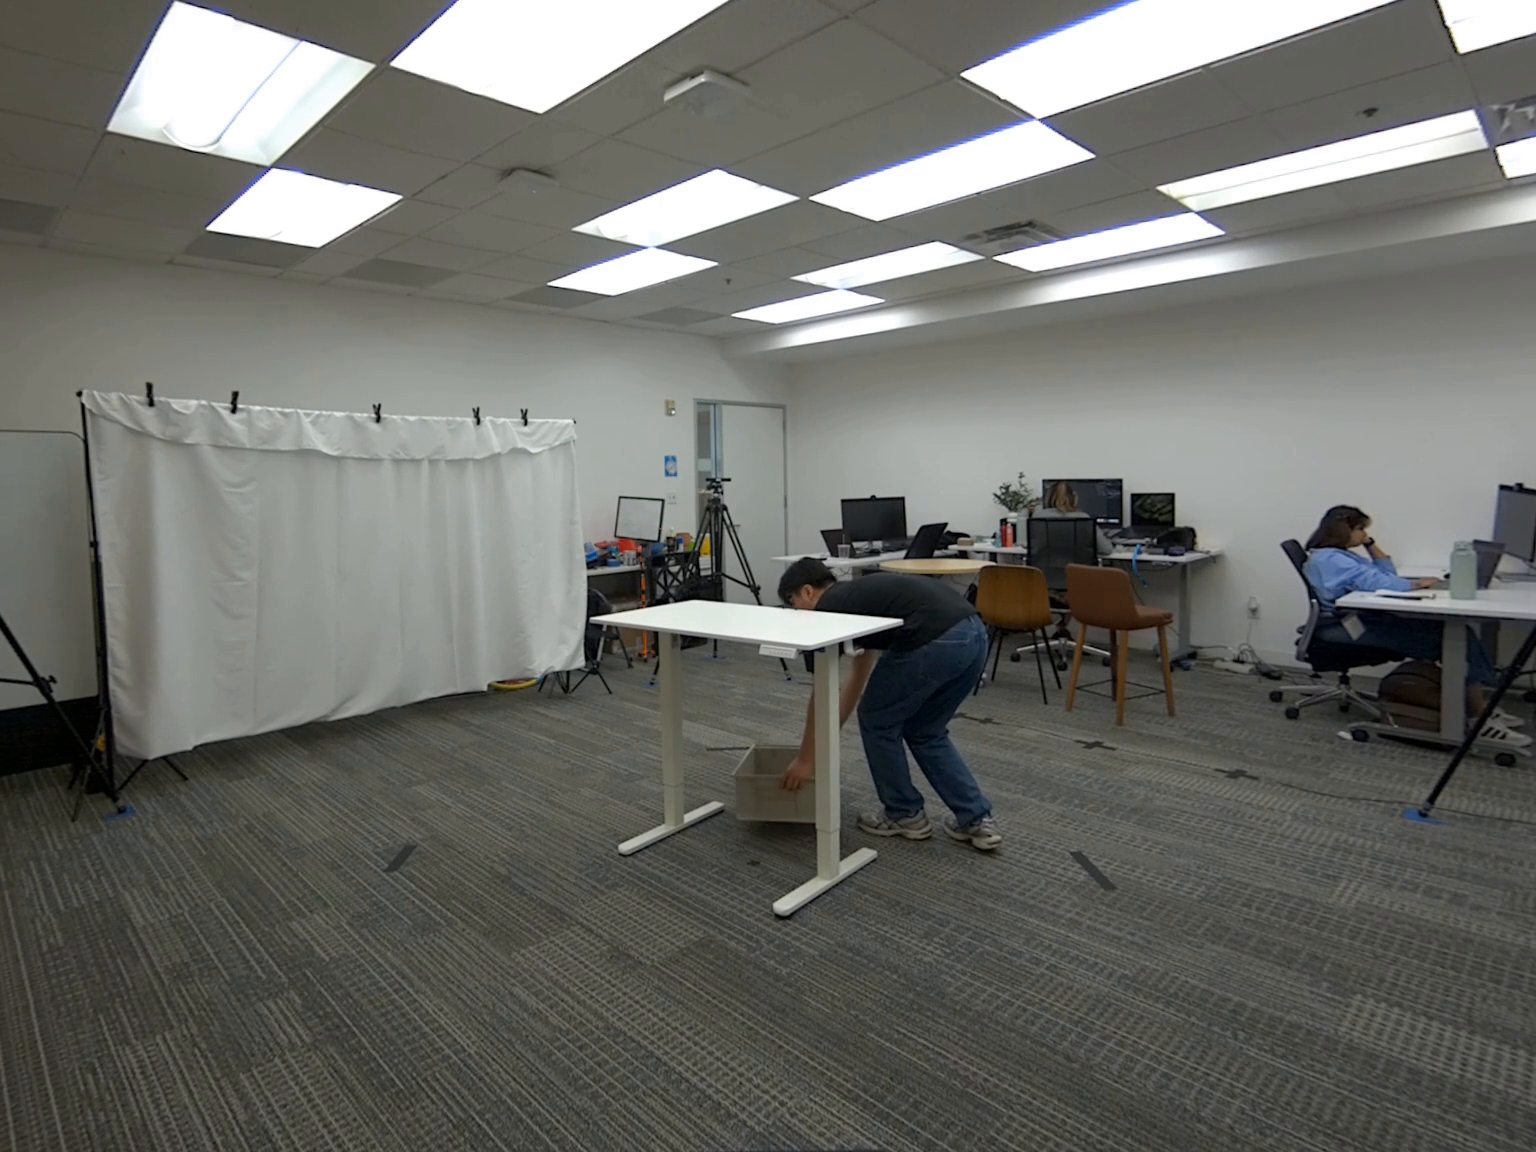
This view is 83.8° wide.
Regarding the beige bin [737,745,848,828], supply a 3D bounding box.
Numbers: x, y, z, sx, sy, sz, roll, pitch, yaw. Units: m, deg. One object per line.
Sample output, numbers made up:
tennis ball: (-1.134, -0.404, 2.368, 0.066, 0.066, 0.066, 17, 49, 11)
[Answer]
beige bin: (0.109, 0.842, 3.487, 0.382, 0.188, 0.419, -3, 4, 12)
